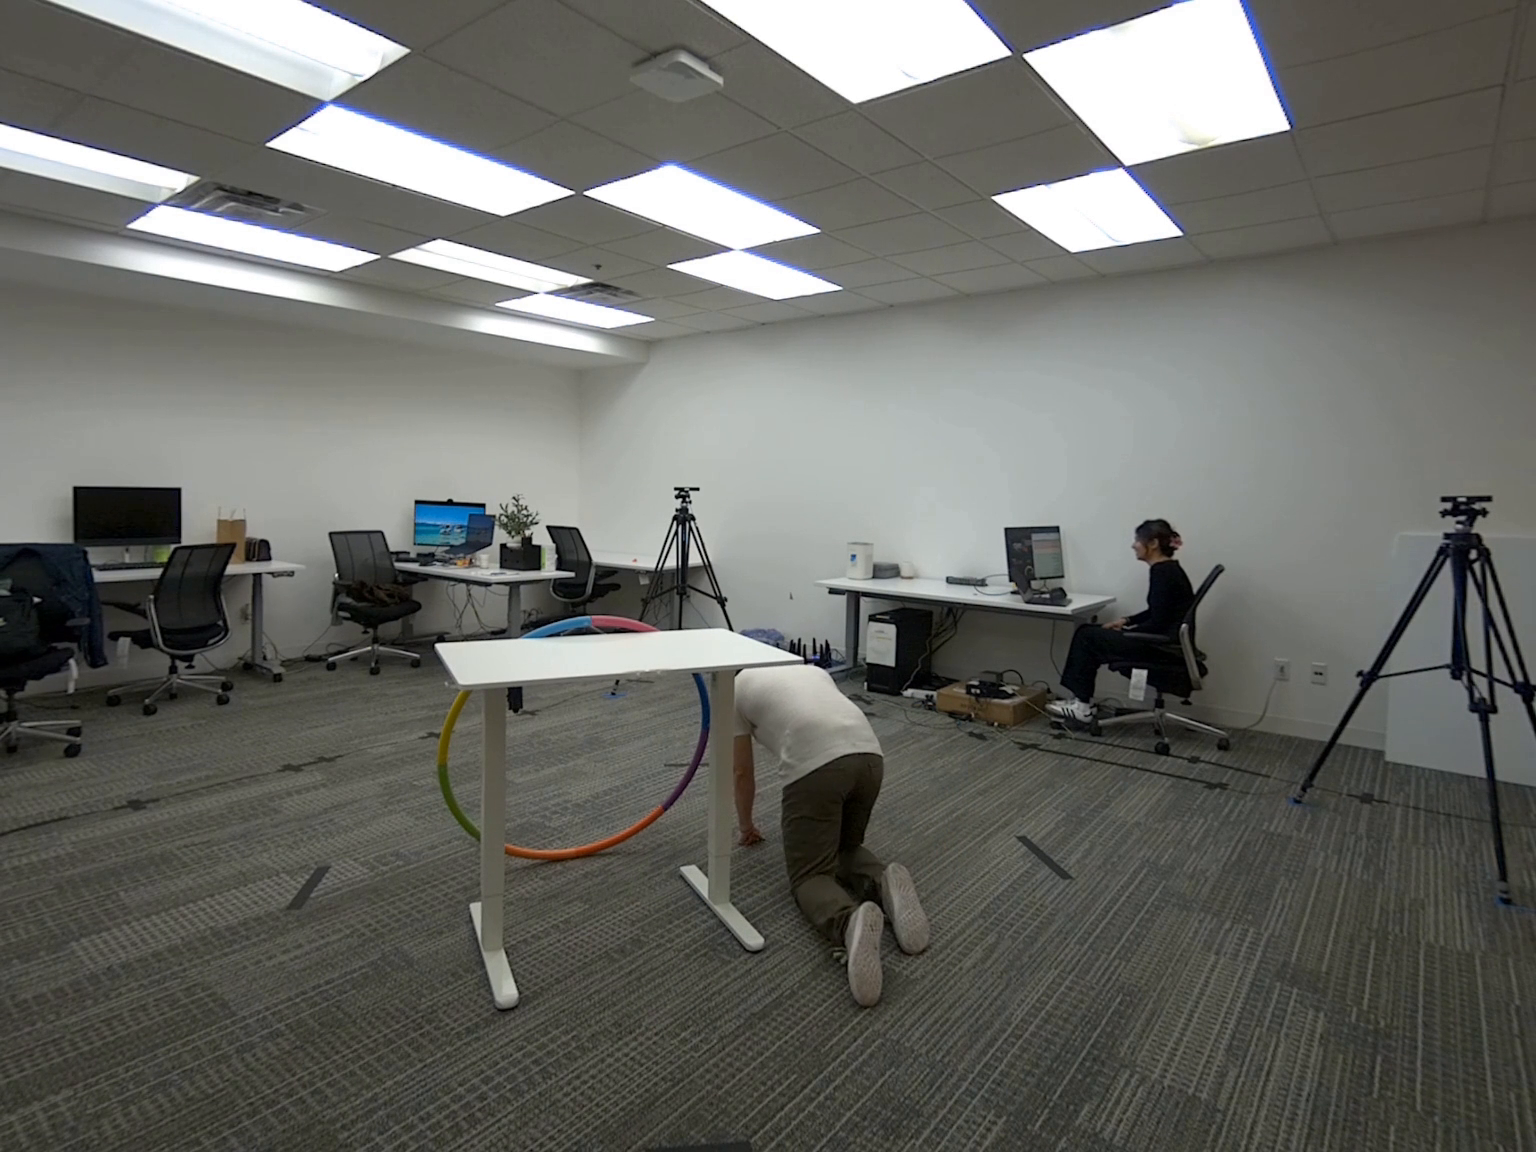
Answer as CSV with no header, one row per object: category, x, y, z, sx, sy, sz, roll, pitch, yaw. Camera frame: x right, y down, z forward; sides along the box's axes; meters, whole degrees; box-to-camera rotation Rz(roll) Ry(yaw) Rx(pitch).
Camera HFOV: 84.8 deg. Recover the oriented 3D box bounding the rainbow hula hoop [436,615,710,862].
rainbow hula hoop,-0.687,0.600,3.046,0.956,0.965,0.037,-1,20,-25
